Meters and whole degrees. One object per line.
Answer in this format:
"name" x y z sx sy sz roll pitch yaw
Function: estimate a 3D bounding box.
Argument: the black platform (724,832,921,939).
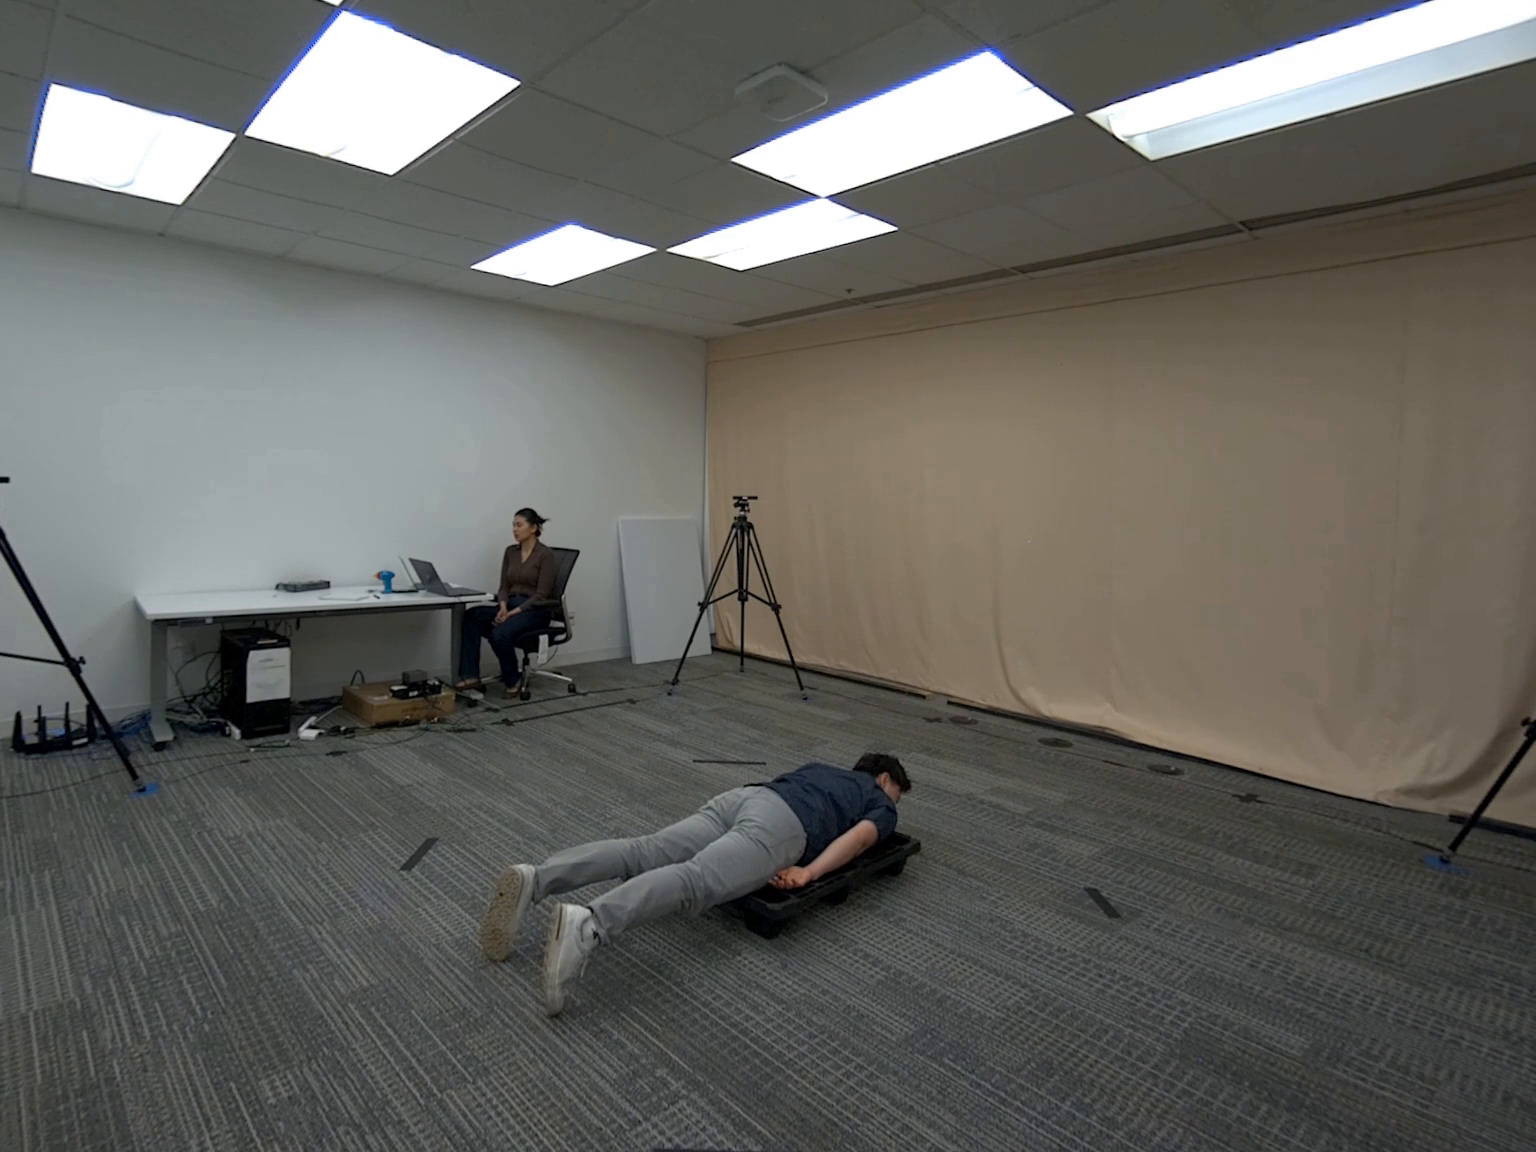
"black platform" 0.079 1.051 3.055 0.621 0.143 0.787 6 7 43
